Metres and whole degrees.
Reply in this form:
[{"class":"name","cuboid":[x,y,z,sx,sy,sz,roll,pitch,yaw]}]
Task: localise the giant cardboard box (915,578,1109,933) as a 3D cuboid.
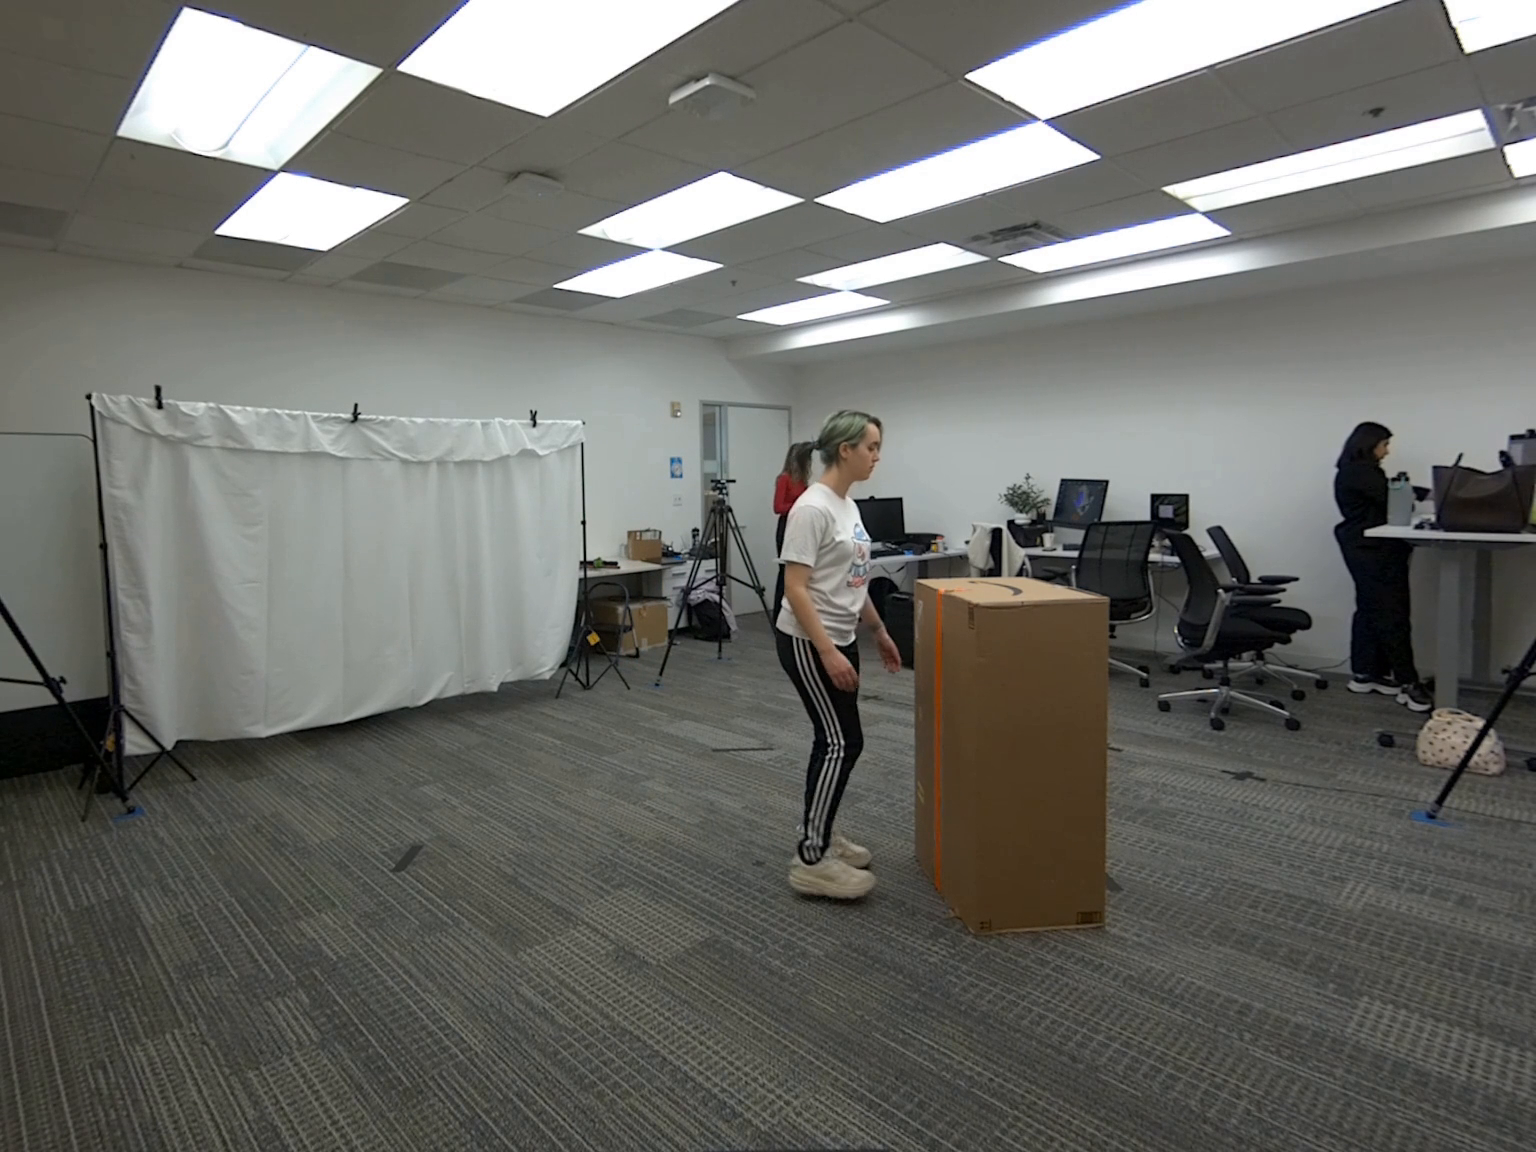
[{"class":"giant cardboard box","cuboid":[0.784,0.552,2.853,0.444,1.023,0.590,-1,4,-8]}]
